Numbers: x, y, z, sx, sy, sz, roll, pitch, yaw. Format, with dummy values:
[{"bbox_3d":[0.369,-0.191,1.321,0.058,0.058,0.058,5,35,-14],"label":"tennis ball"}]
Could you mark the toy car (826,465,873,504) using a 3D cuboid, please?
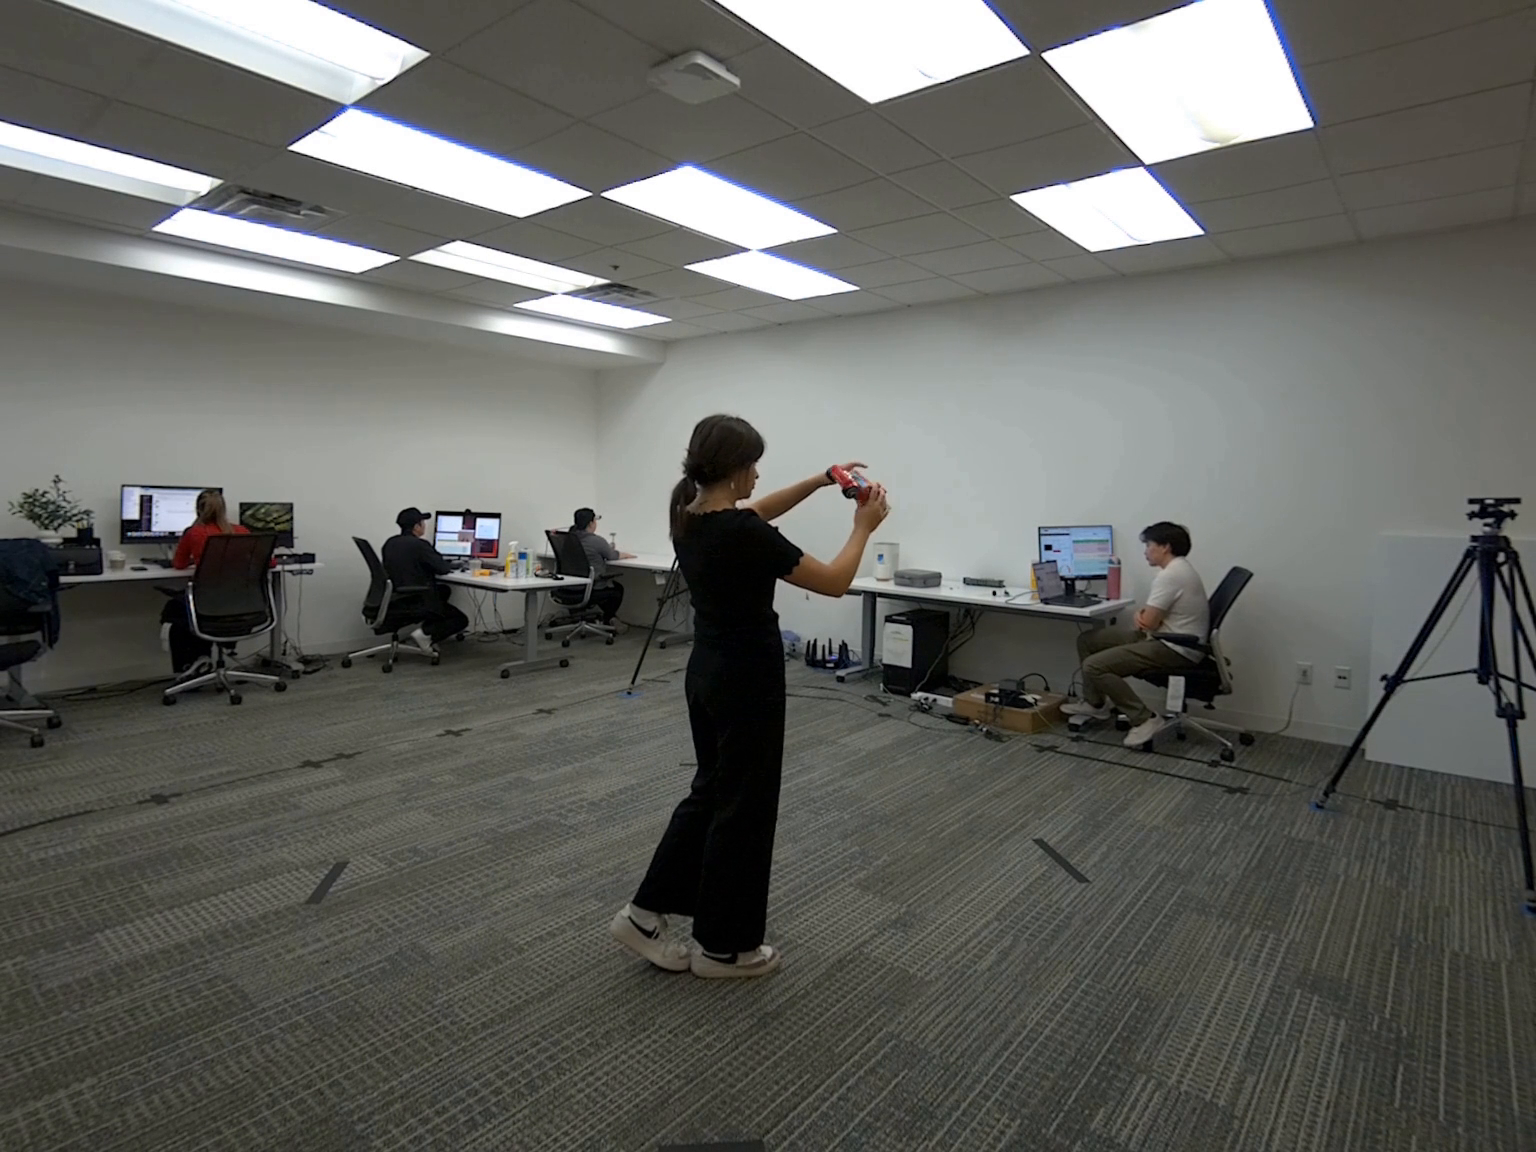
[{"bbox_3d":[0.263,-0.250,2.525,0.245,0.083,0.136,15,30,-45],"label":"toy car"}]
